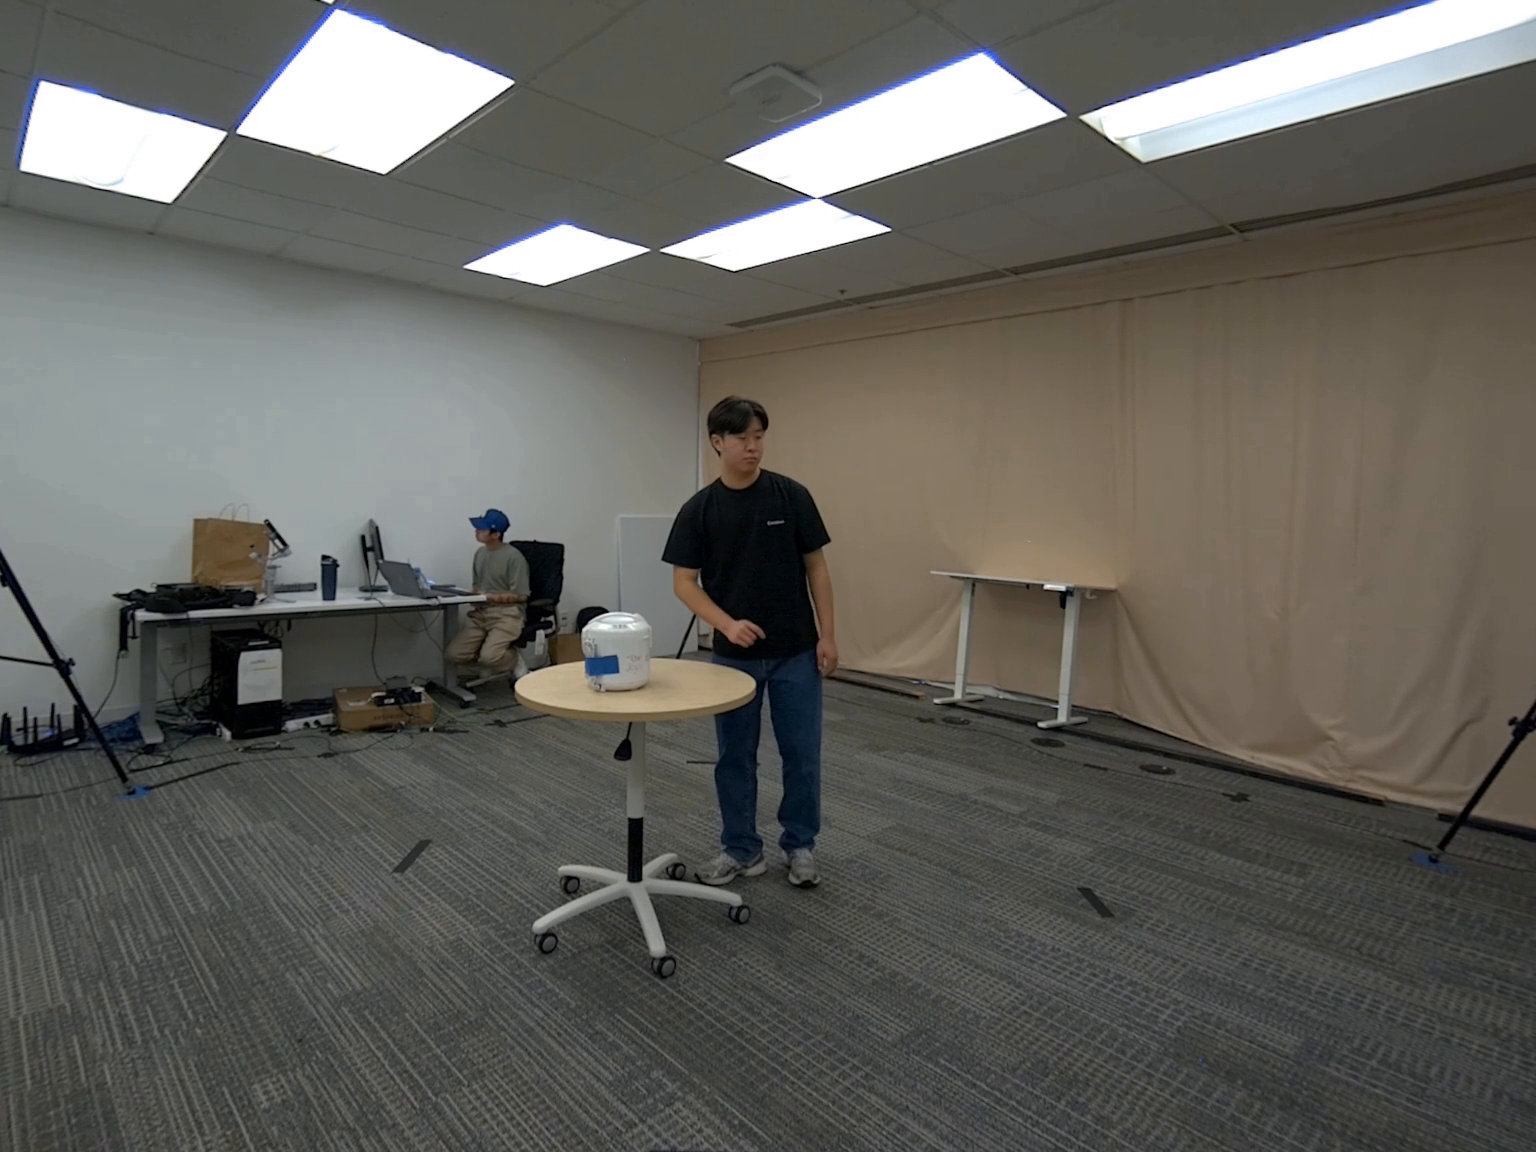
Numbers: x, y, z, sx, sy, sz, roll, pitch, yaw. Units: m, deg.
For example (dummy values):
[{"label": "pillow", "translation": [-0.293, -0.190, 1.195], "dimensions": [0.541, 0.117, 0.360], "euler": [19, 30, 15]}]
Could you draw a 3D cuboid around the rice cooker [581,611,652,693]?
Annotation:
[{"label": "rice cooker", "translation": [-0.481, 0.232, 2.645], "dimensions": [0.218, 0.232, 0.220], "euler": [1, 5, -12]}]
